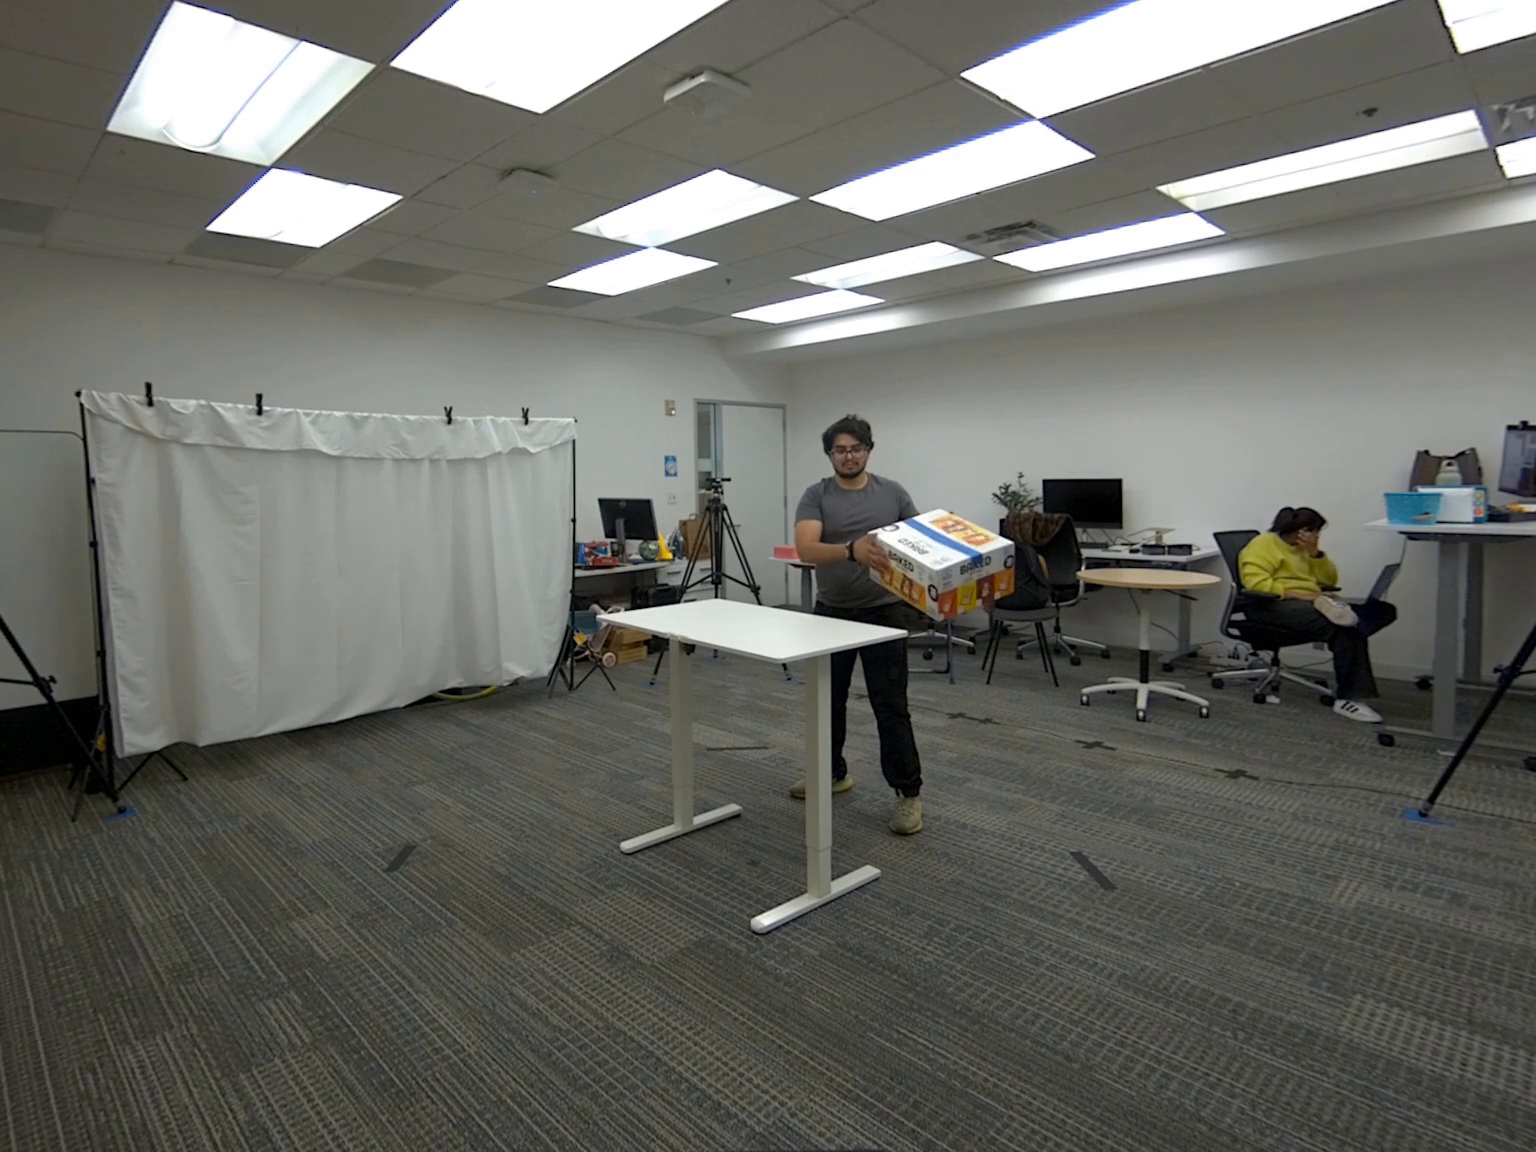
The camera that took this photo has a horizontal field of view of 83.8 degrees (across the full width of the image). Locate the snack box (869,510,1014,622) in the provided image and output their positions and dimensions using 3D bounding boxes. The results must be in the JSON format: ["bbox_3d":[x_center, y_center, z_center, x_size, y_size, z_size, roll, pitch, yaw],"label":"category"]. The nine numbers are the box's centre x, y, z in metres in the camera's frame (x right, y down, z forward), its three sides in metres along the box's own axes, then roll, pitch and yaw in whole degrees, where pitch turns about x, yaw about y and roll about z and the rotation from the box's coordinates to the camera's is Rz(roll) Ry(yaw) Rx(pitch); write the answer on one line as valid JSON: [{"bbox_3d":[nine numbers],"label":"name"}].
[{"bbox_3d":[0.619,-0.046,3.149,0.336,0.201,0.420,-18,29,-22],"label":"snack box"}]
